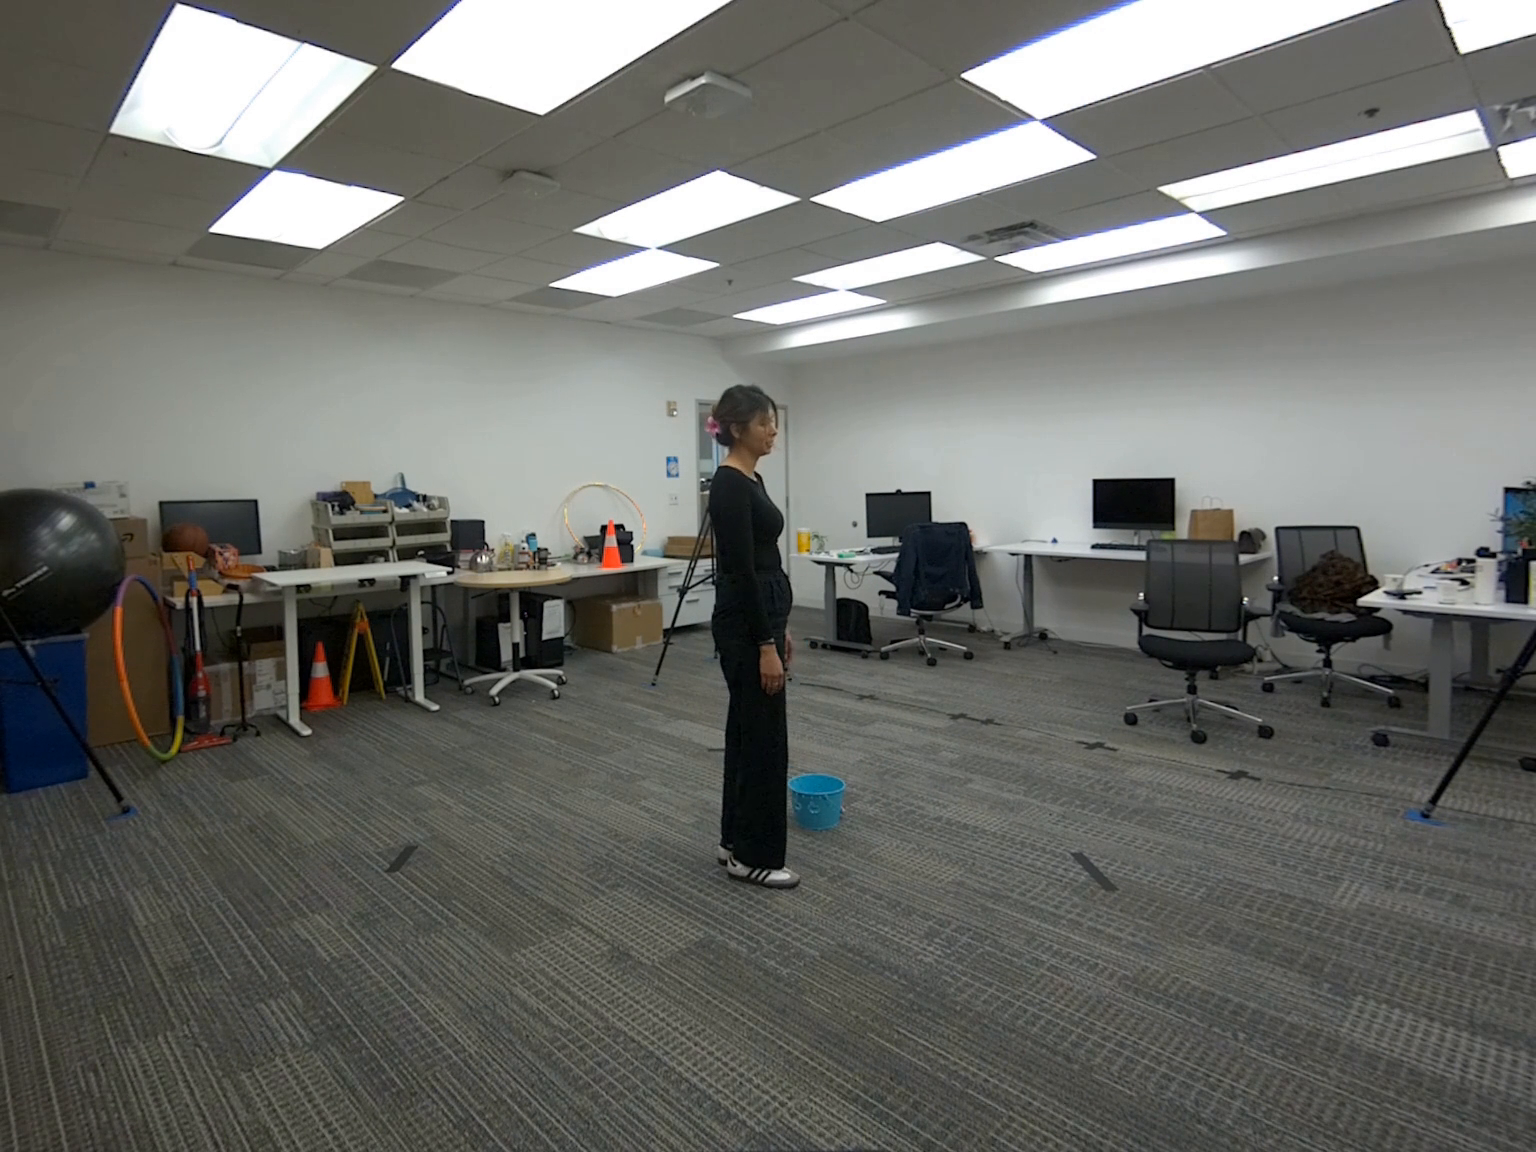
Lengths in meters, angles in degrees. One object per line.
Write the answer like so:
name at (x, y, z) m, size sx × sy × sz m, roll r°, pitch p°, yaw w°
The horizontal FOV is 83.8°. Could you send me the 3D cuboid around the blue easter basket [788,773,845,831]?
blue easter basket at (0.207, 0.921, 3.482) m, size 0.243 × 0.155 × 0.245 m, roll -1°, pitch 5°, yaw -2°
